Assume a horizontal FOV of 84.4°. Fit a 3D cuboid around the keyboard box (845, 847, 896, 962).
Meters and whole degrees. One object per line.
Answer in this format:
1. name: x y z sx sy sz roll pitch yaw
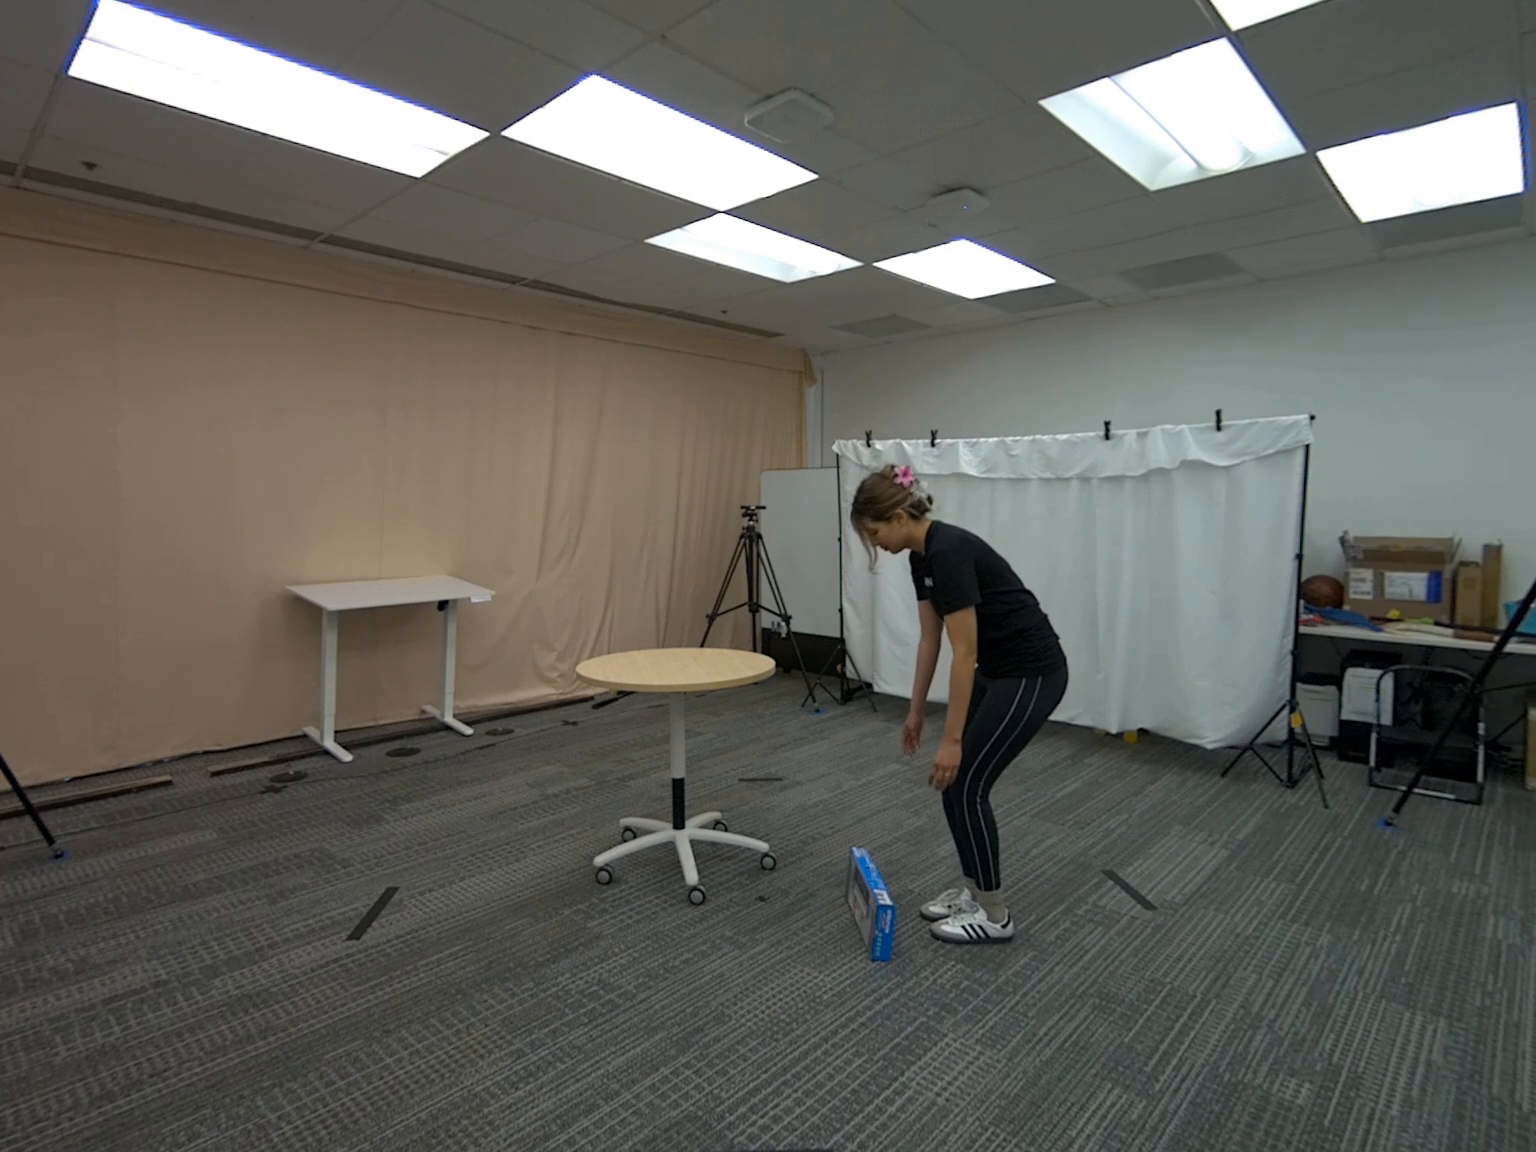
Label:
1. keyboard box: 0.335 1.072 2.783 0.059 0.176 0.440 4 4 -6
